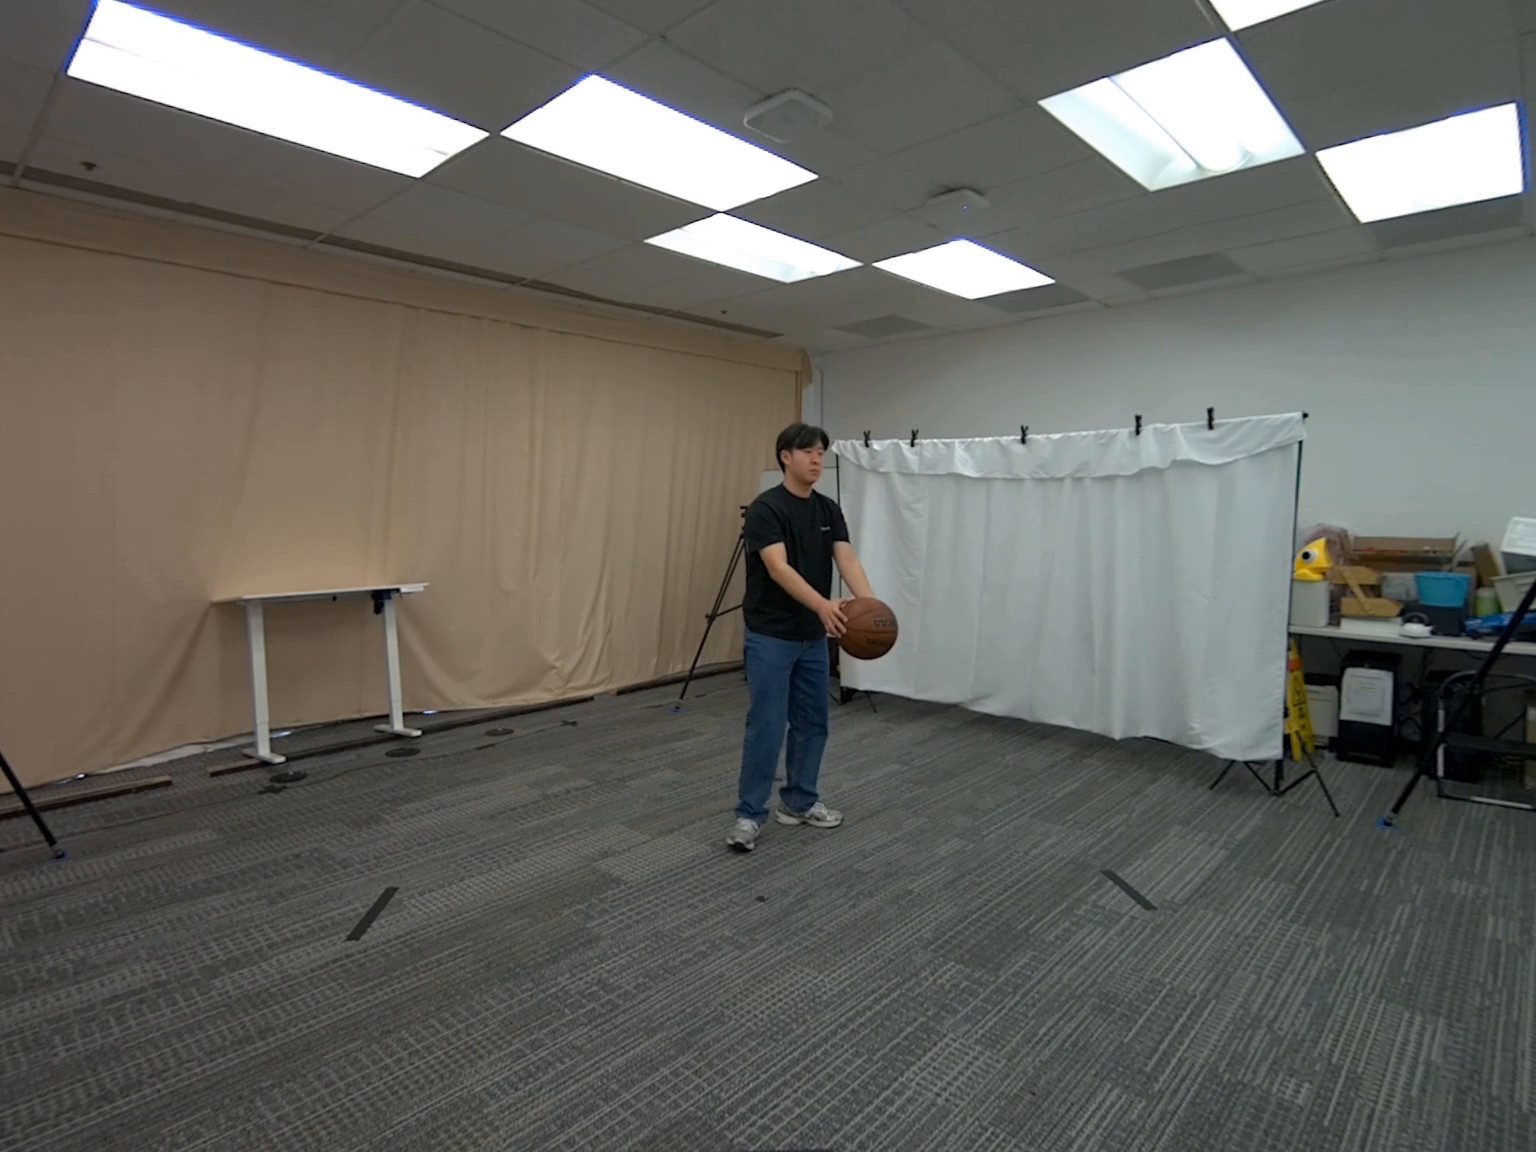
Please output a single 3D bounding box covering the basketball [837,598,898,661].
[{"bbox_3d":[0.374,0.199,3.191,0.236,0.235,0.237,0,4,-2],"label":"basketball"}]
